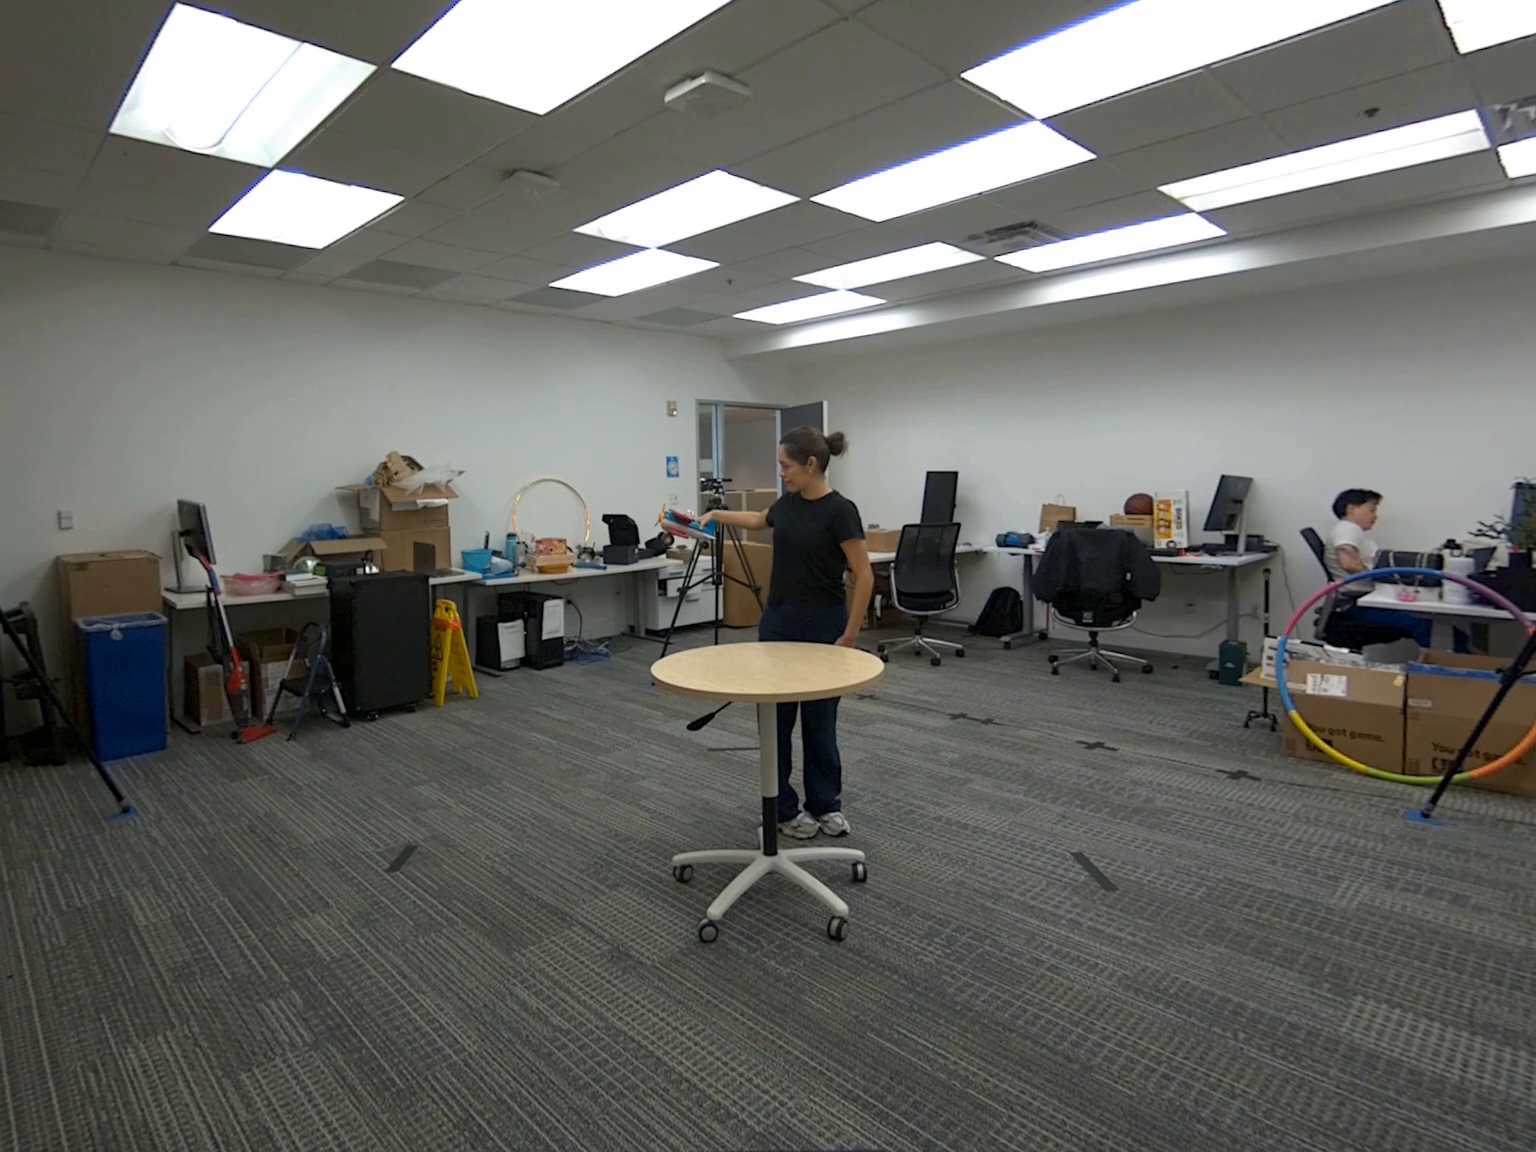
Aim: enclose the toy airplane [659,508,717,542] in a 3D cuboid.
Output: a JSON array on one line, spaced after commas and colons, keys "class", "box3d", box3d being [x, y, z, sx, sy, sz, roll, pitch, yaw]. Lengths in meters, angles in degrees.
[{"class": "toy airplane", "box3d": [-0.371, -0.207, 3.750, 0.251, 0.156, 0.260, 2, 7, -41]}]
